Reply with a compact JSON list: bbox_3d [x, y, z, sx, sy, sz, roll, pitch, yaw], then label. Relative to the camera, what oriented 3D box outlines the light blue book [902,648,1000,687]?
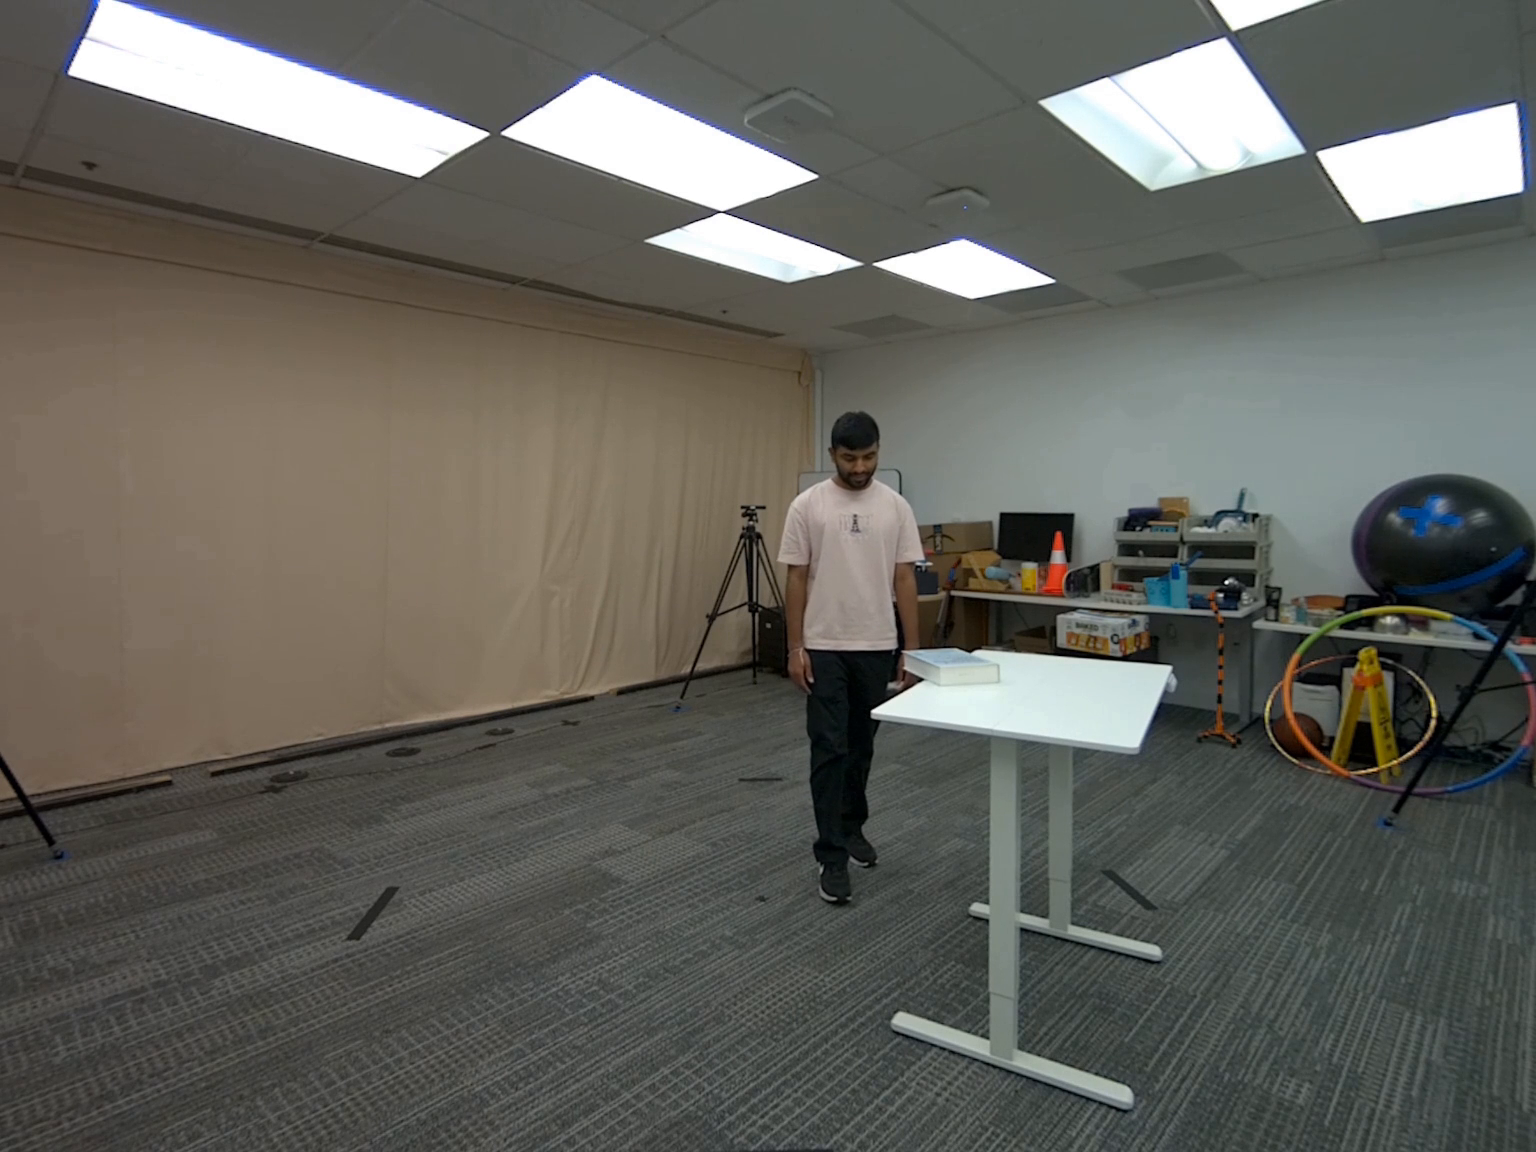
[{"bbox_3d":[0.567,0.272,2.518,0.189,0.059,0.265,-1,5,-15],"label":"light blue book"}]
